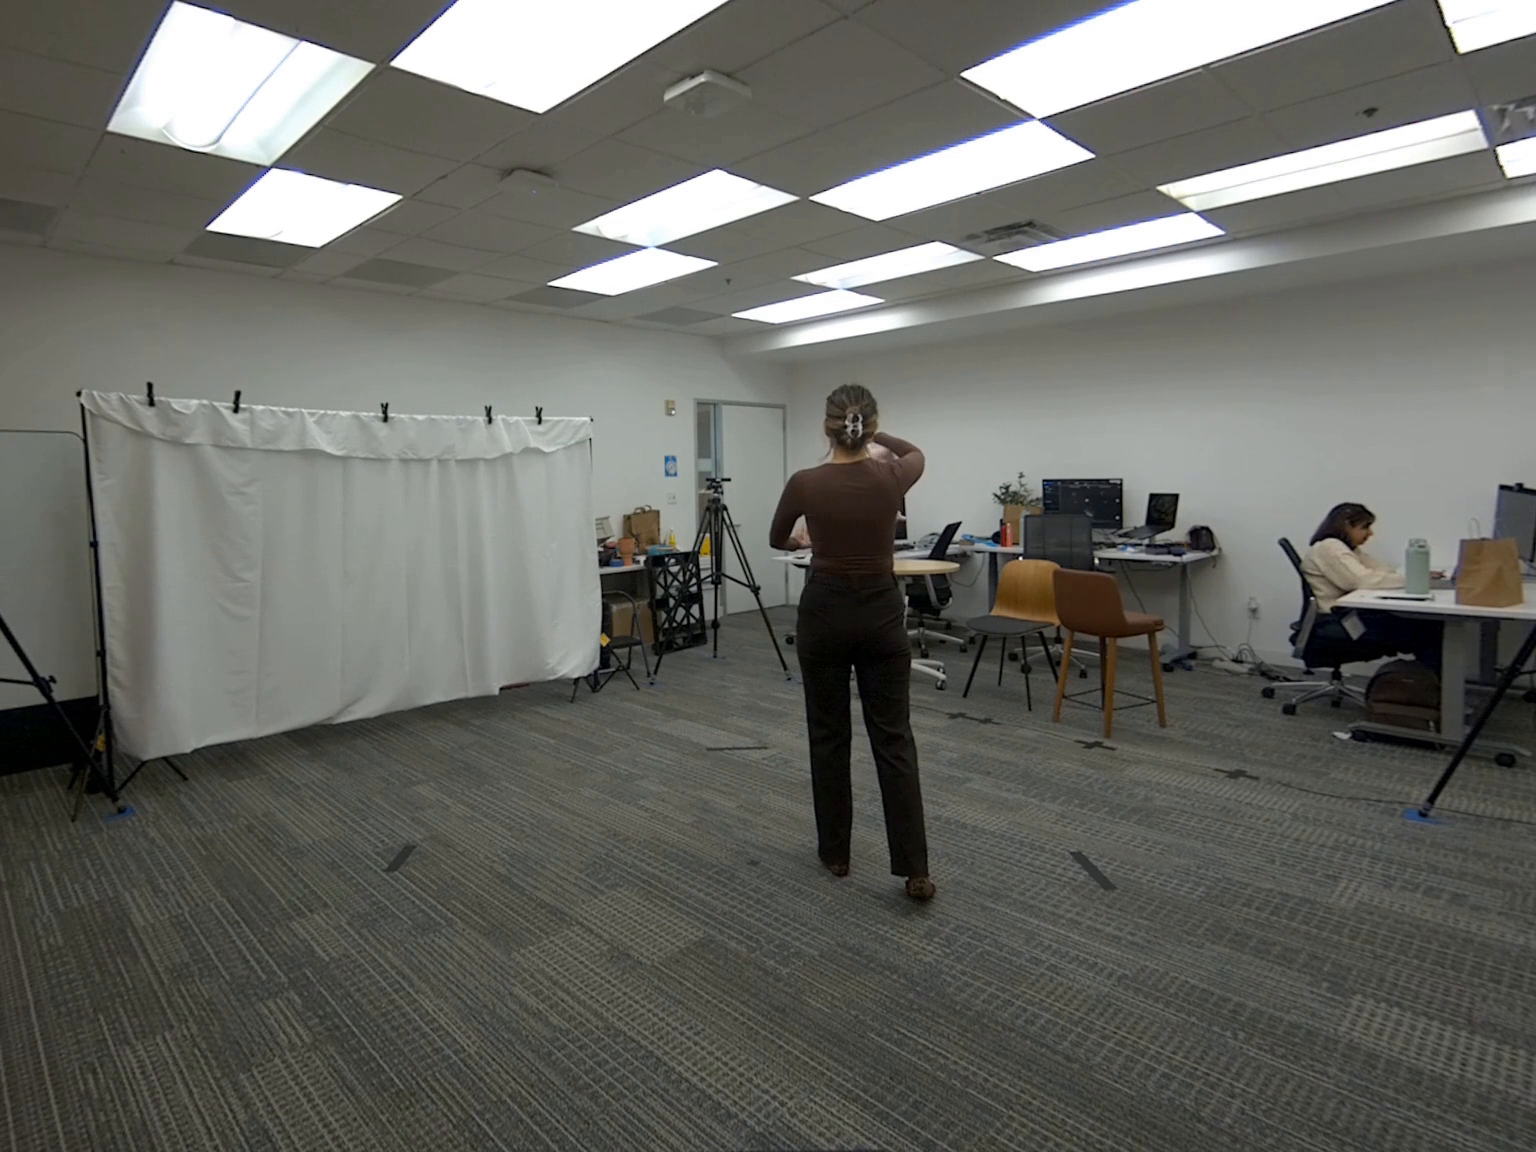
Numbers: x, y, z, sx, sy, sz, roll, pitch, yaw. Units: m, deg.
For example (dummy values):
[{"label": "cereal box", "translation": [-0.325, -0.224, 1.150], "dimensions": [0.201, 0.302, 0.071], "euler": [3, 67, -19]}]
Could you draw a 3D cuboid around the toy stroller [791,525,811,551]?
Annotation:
[{"label": "toy stroller", "translation": [0.387, -0.272, 3.342], "dimensions": [0.272, 0.534, 0.353], "euler": [12, 4, -39]}]
